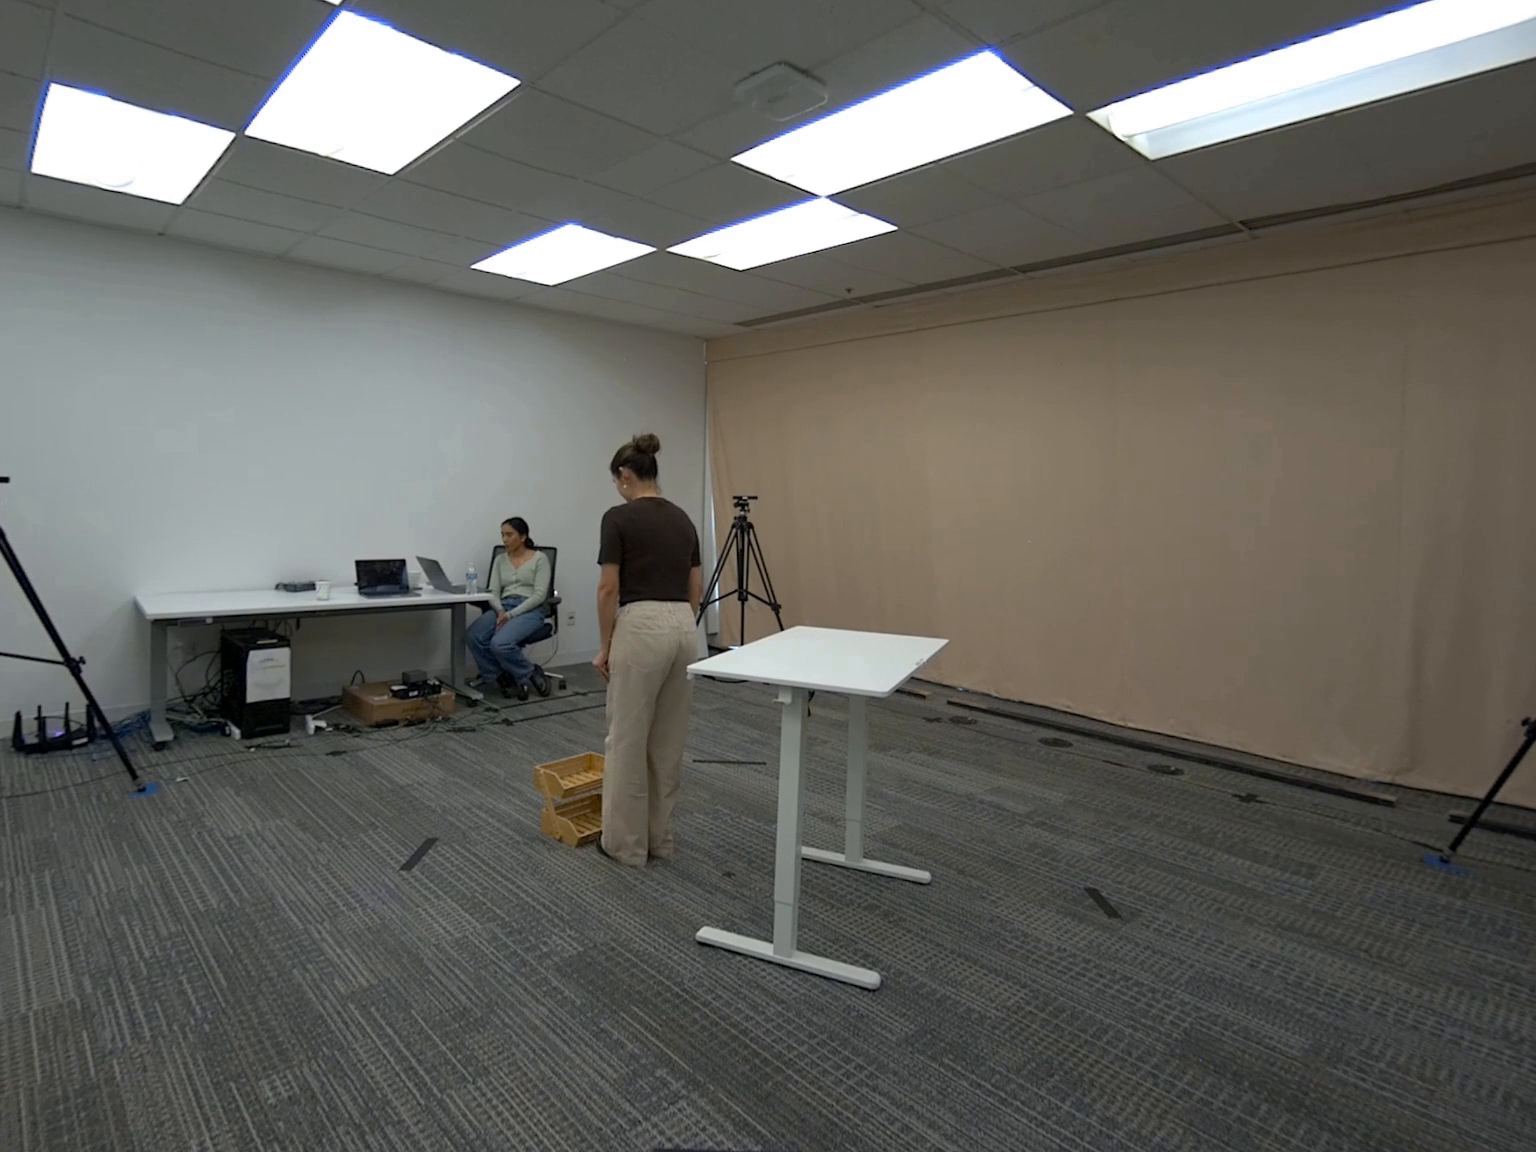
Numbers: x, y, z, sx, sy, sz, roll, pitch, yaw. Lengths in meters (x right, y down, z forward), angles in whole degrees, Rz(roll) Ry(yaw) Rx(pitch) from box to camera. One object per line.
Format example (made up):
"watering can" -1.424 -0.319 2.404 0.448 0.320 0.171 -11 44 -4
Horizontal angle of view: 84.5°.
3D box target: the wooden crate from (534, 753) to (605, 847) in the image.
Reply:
"wooden crate" -0.769 0.919 3.505 0.309 0.273 0.317 4 5 40
